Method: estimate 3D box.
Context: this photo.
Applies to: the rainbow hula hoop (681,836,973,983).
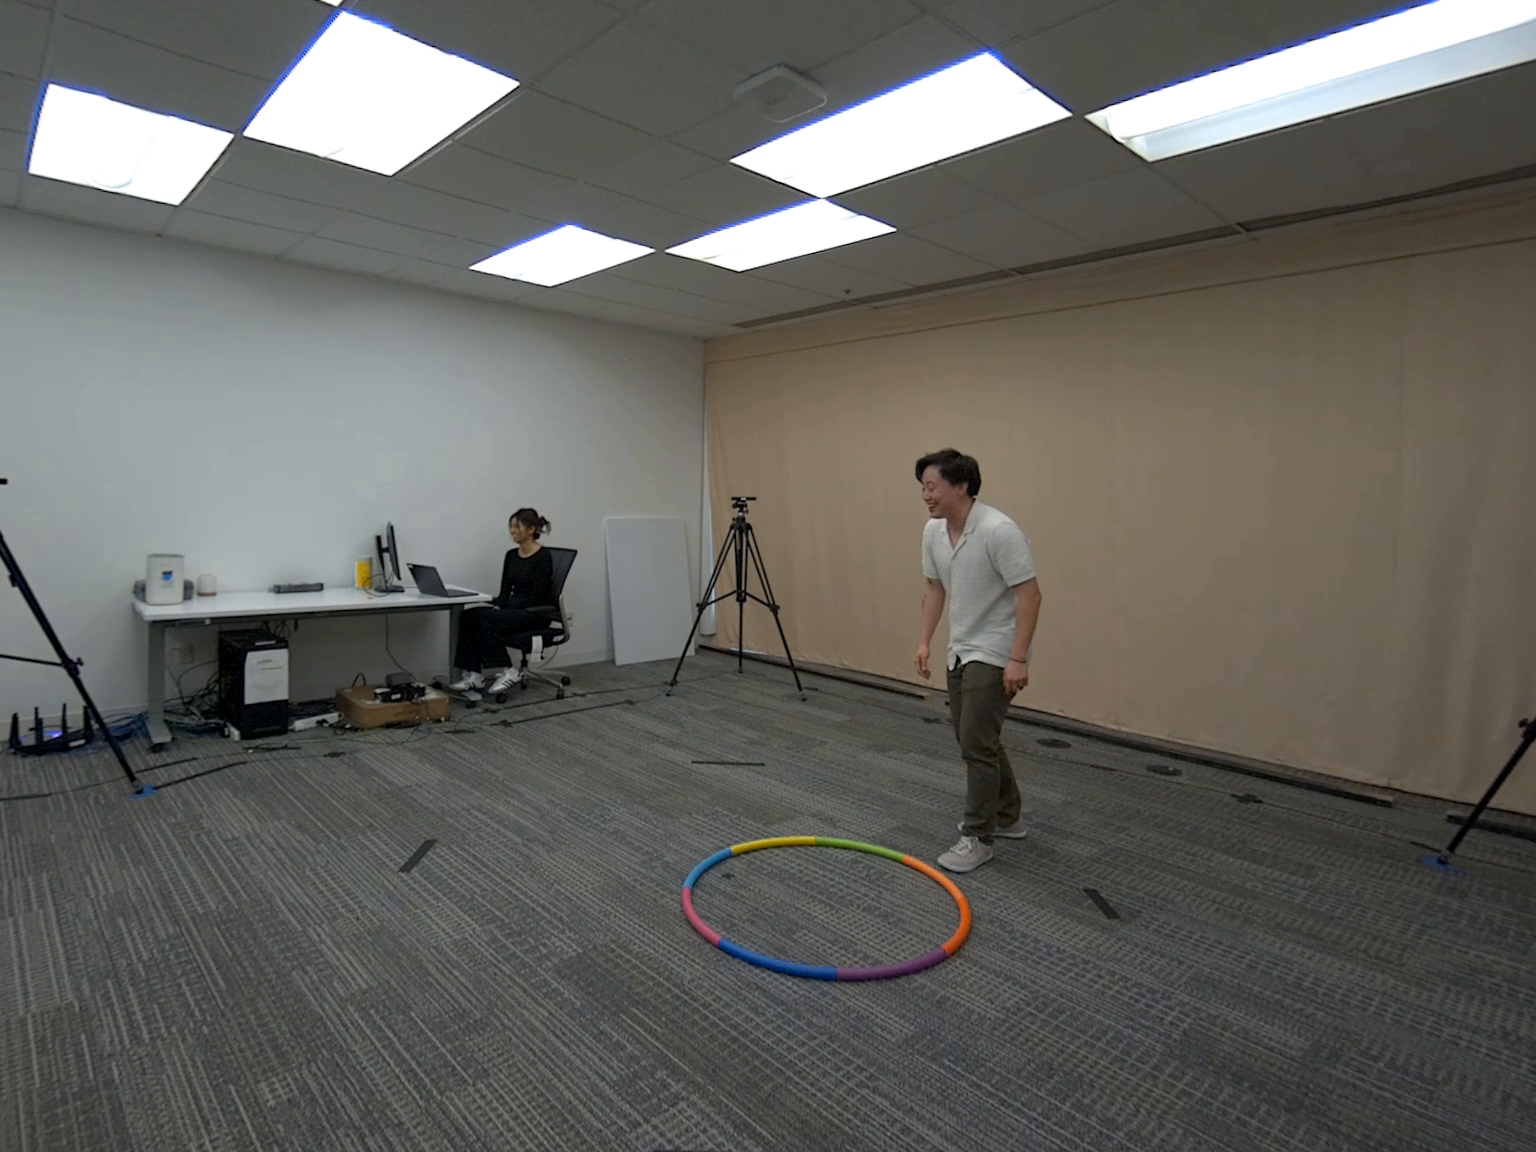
[{"bbox_3d":[0.181,1.102,2.925,0.978,0.035,0.982,1,5,-1],"label":"rainbow hula hoop"}]
